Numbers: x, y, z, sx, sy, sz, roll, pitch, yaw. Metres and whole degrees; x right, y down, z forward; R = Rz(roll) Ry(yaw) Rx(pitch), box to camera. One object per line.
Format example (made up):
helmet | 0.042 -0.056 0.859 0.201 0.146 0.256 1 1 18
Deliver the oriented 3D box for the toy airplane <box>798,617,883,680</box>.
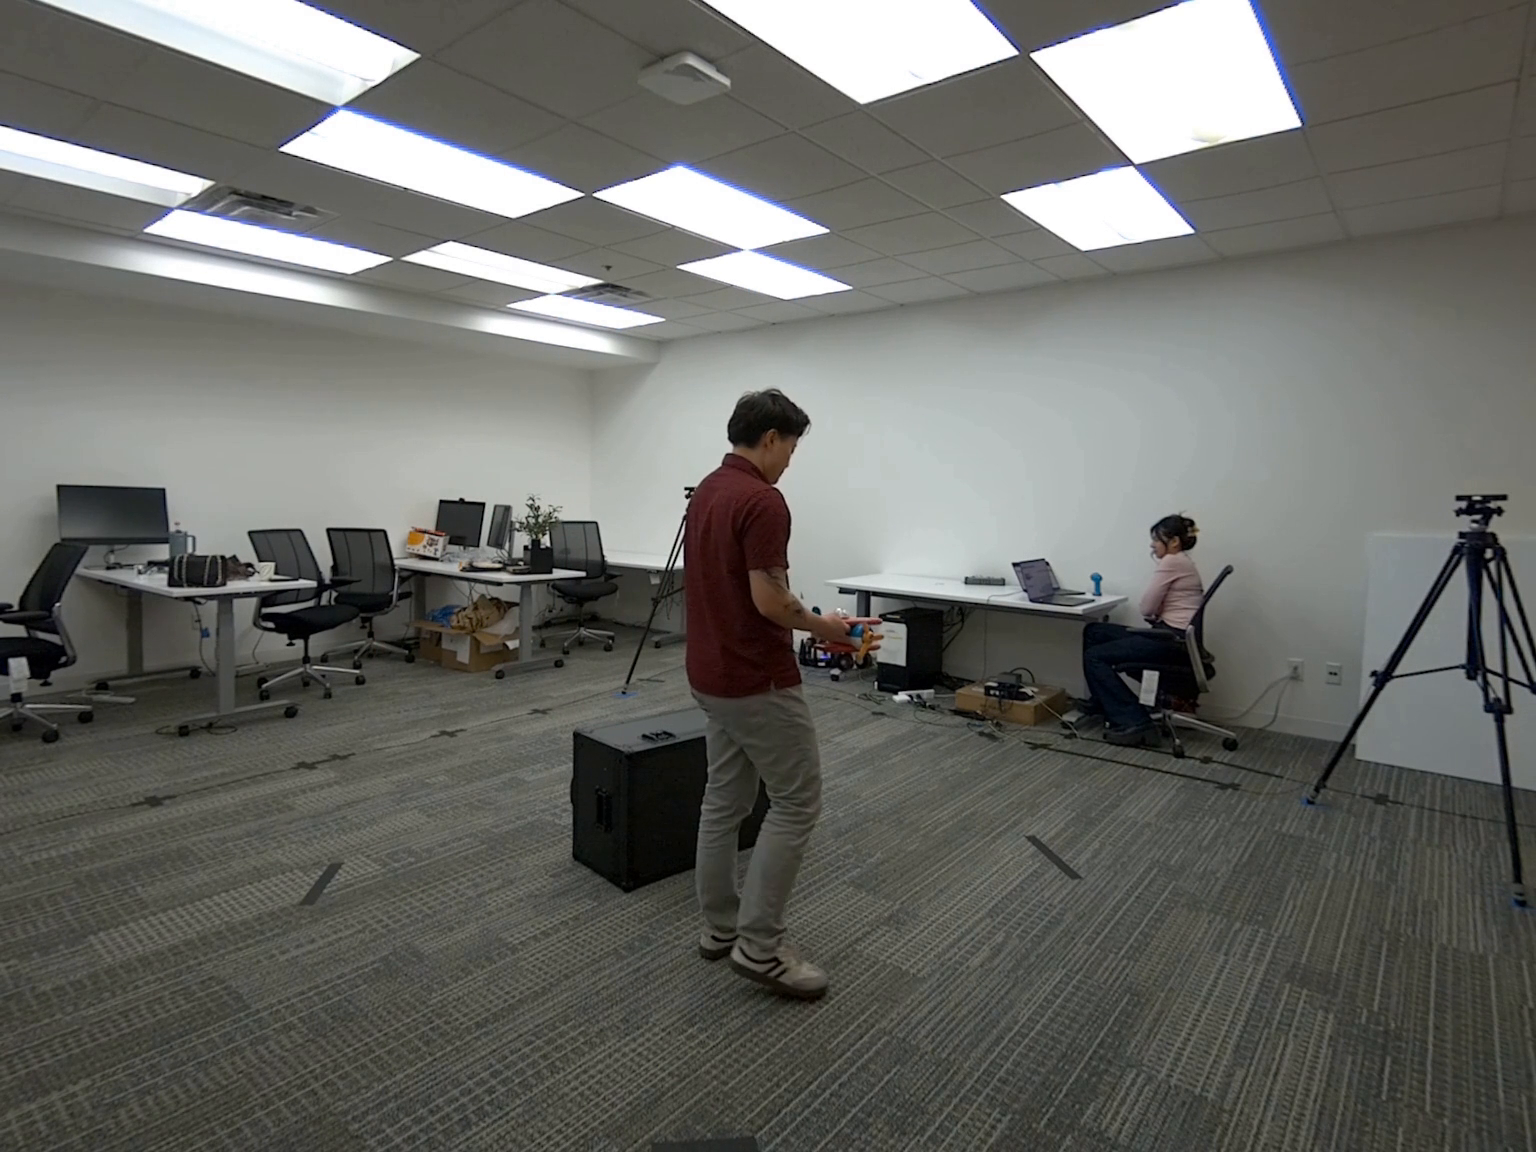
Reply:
toy airplane | 0.203 0.187 2.630 0.266 0.155 0.246 19 14 21
